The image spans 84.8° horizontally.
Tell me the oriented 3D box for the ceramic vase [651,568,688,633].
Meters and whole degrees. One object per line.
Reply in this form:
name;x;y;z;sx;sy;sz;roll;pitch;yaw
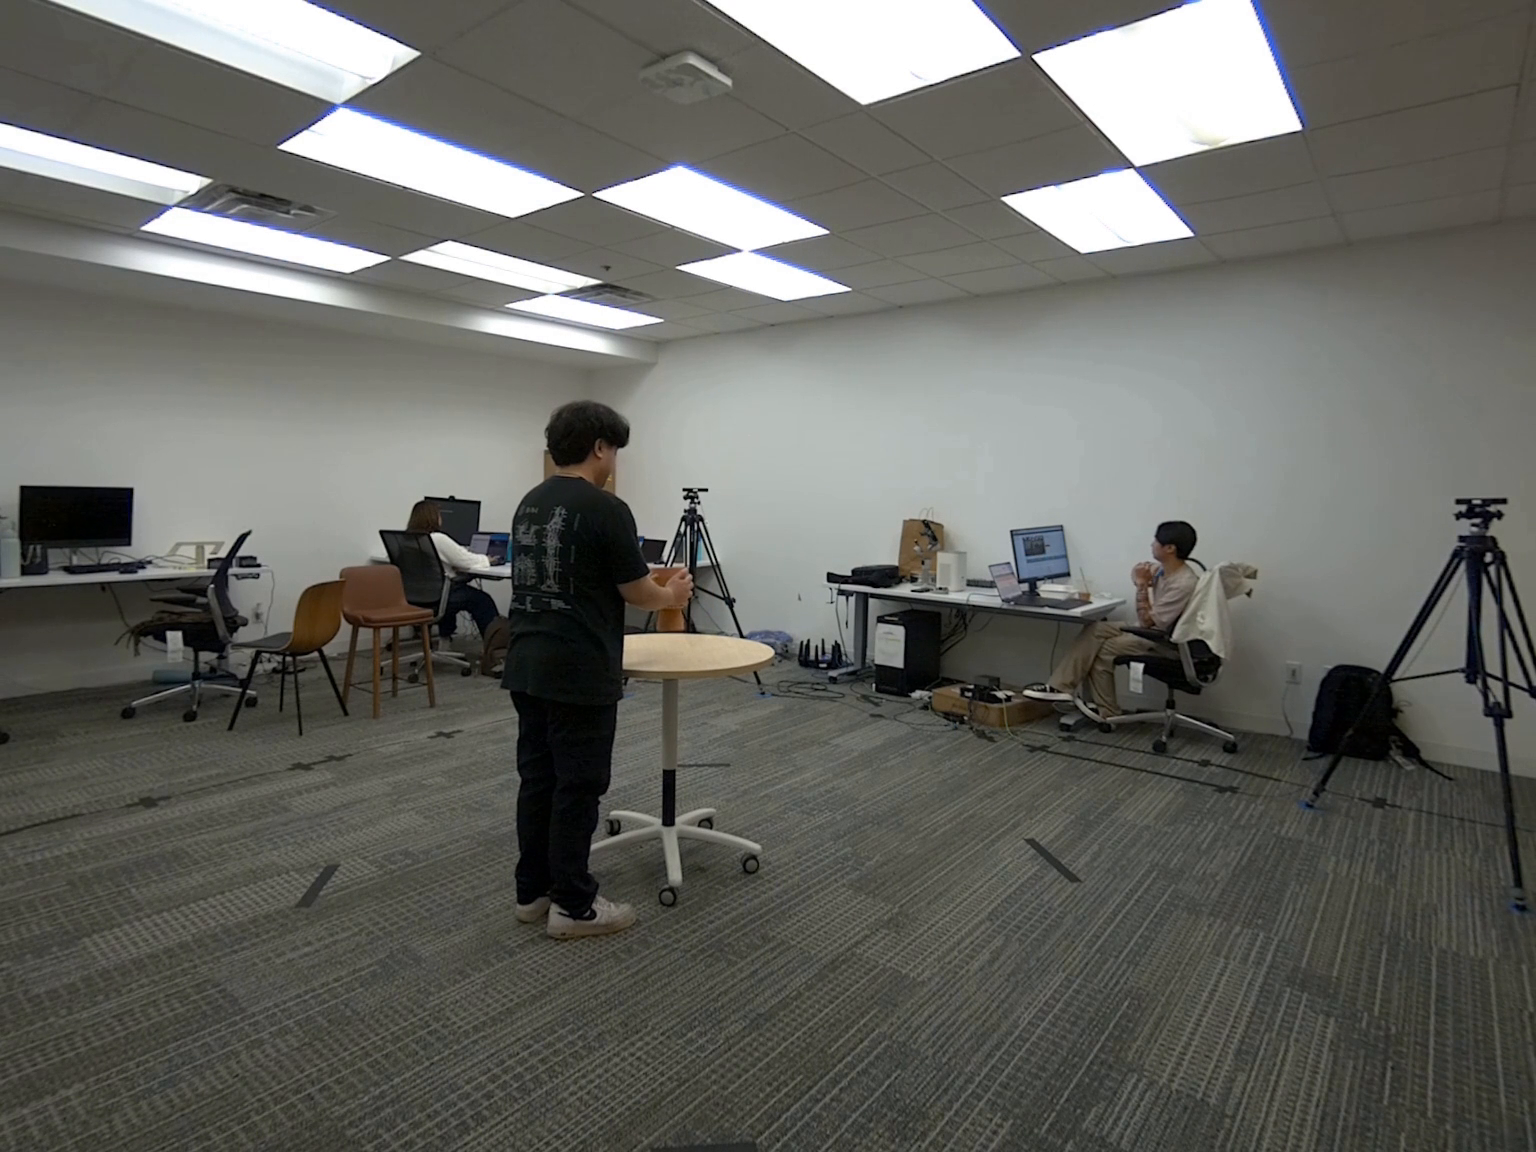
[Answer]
ceramic vase;-0.354;0.078;3.000;0.157;0.220;0.136;-1;-1;-13
